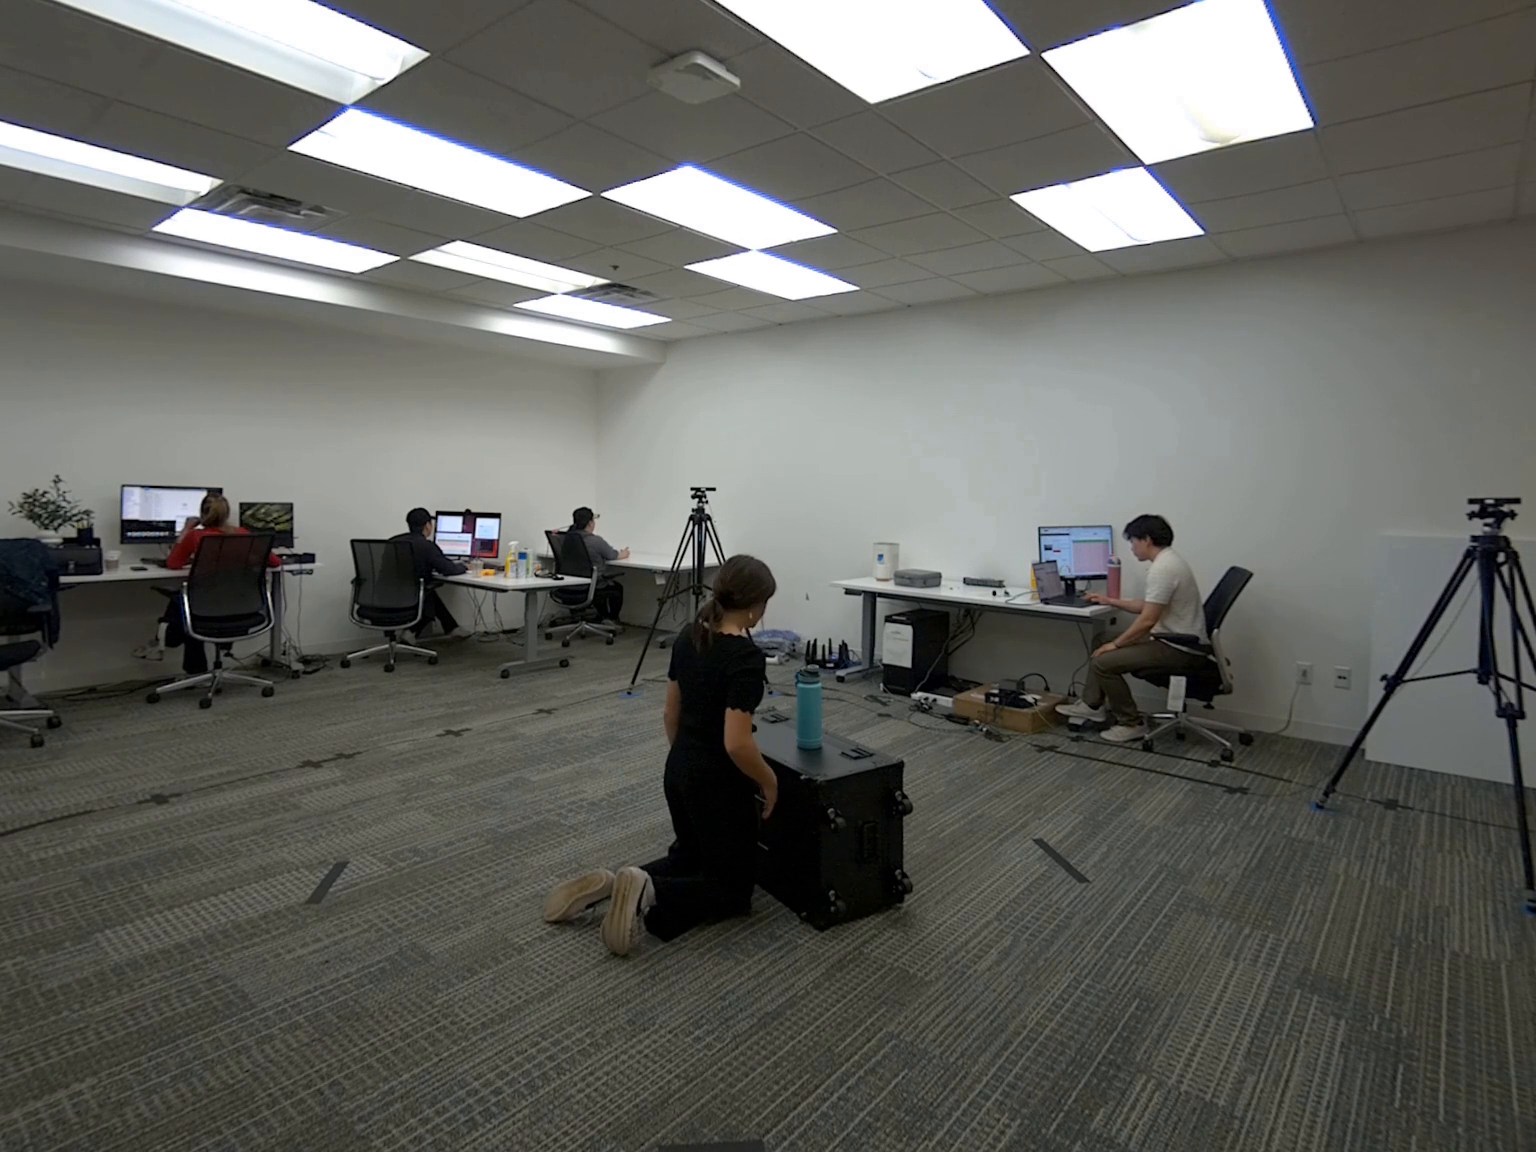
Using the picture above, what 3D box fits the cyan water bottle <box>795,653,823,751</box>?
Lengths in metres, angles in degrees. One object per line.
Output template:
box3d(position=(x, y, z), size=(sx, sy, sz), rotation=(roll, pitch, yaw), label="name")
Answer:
box3d(position=(0.135, 0.455, 2.994), size=(0.092, 0.283, 0.093), rotation=(-1, 3, -2), label="cyan water bottle")
